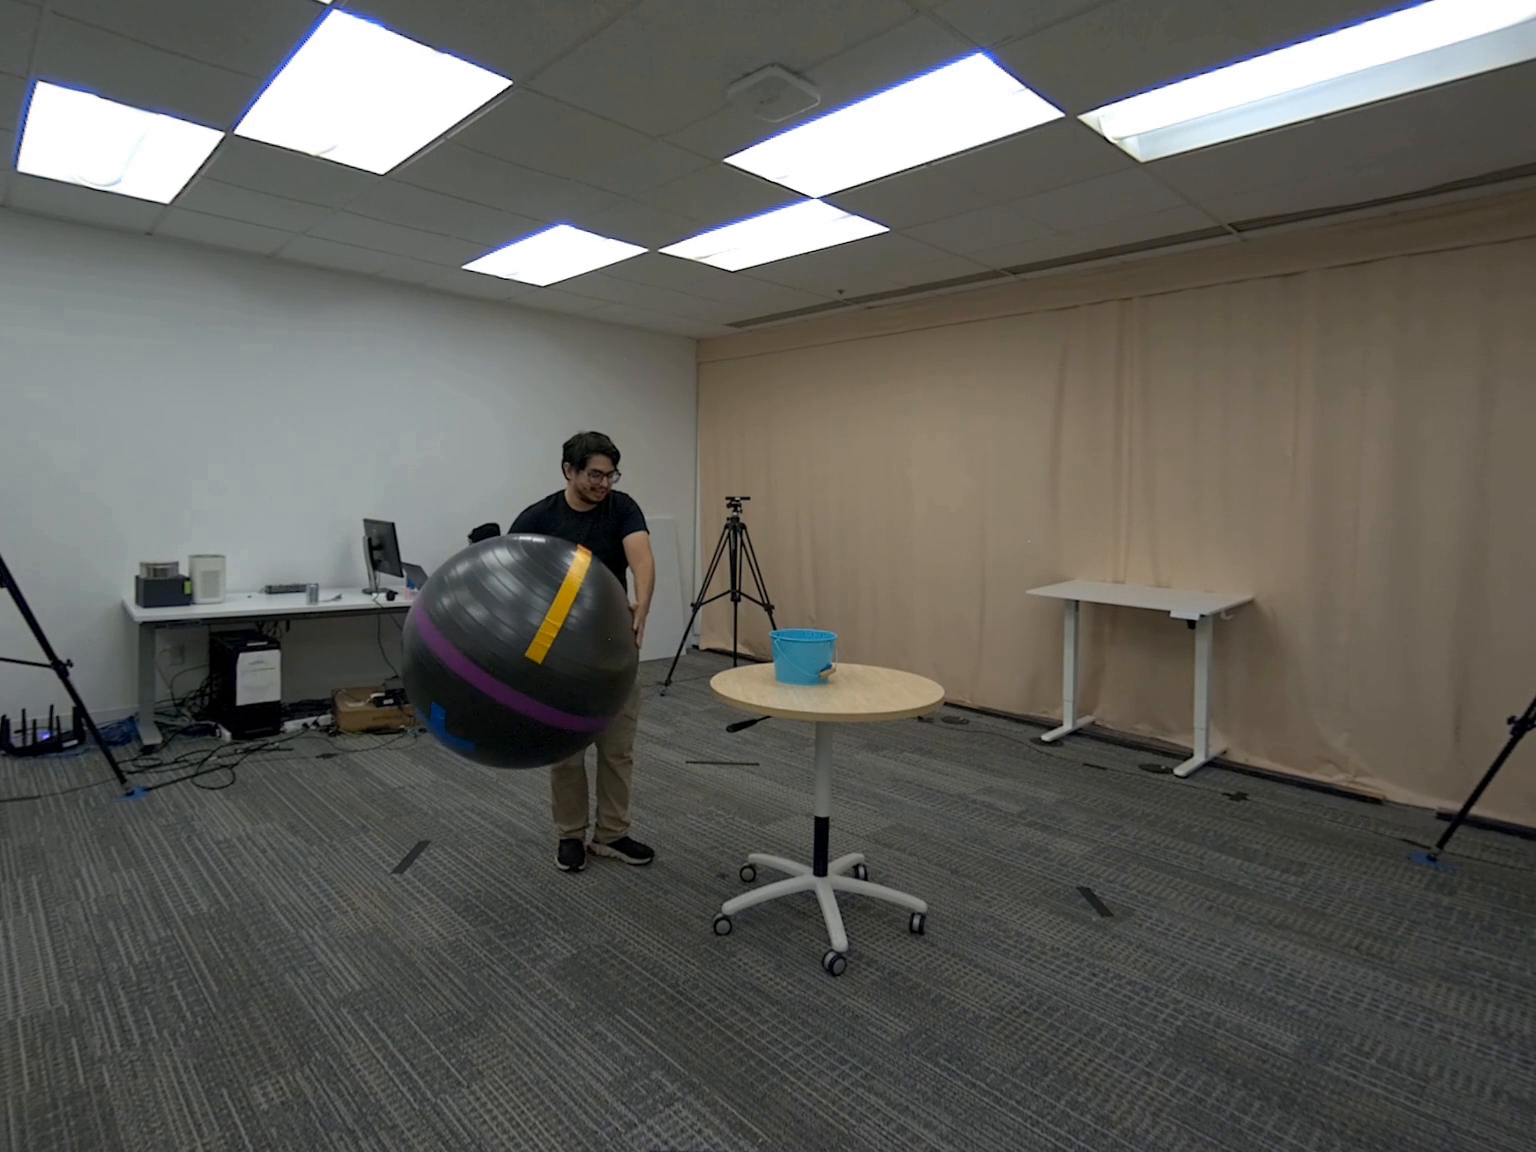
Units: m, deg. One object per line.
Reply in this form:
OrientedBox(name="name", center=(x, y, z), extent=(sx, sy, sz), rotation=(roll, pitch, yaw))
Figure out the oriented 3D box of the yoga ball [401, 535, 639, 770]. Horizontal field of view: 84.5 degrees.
OrientedBox(name="yoga ball", center=(-0.834, 0.243, 2.742), extent=(0.757, 0.756, 0.761), rotation=(1, 4, -1))
